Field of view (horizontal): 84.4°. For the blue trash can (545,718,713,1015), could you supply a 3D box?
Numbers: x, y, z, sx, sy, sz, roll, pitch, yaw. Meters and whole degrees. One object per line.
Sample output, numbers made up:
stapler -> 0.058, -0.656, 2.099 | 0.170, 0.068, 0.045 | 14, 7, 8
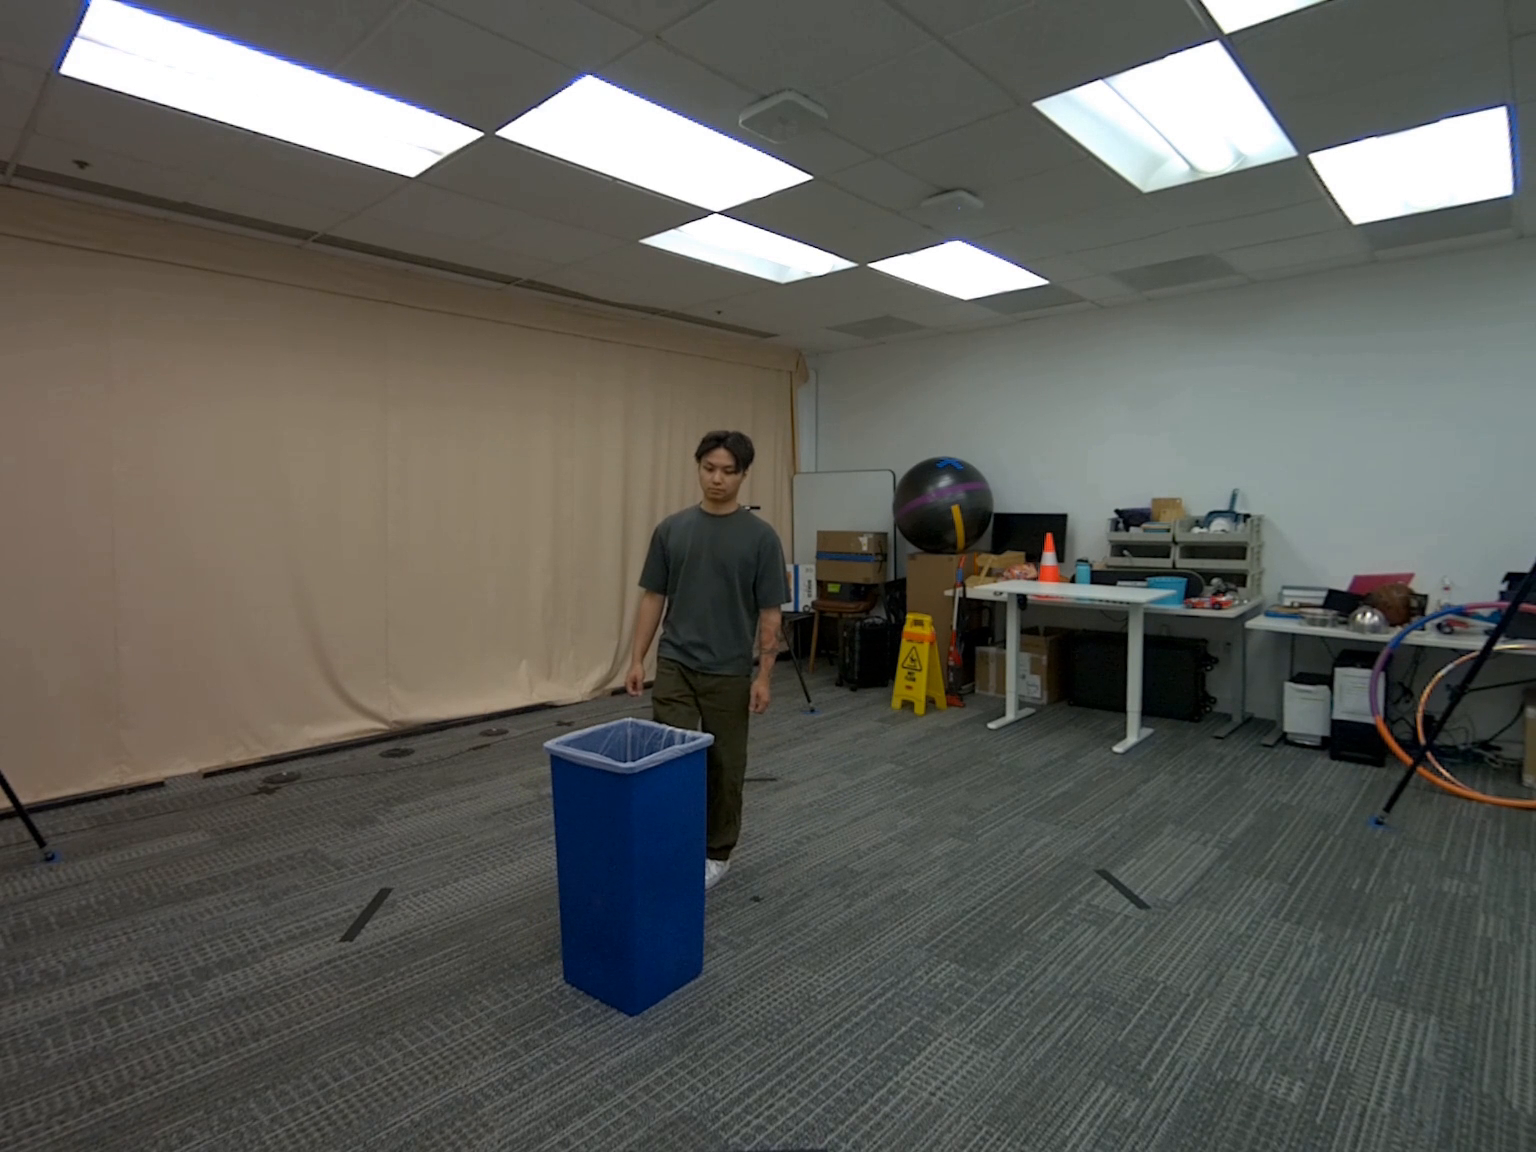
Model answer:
blue trash can -> -0.396, 0.830, 2.478 | 0.386, 0.712, 0.367 | 2, 4, 36
